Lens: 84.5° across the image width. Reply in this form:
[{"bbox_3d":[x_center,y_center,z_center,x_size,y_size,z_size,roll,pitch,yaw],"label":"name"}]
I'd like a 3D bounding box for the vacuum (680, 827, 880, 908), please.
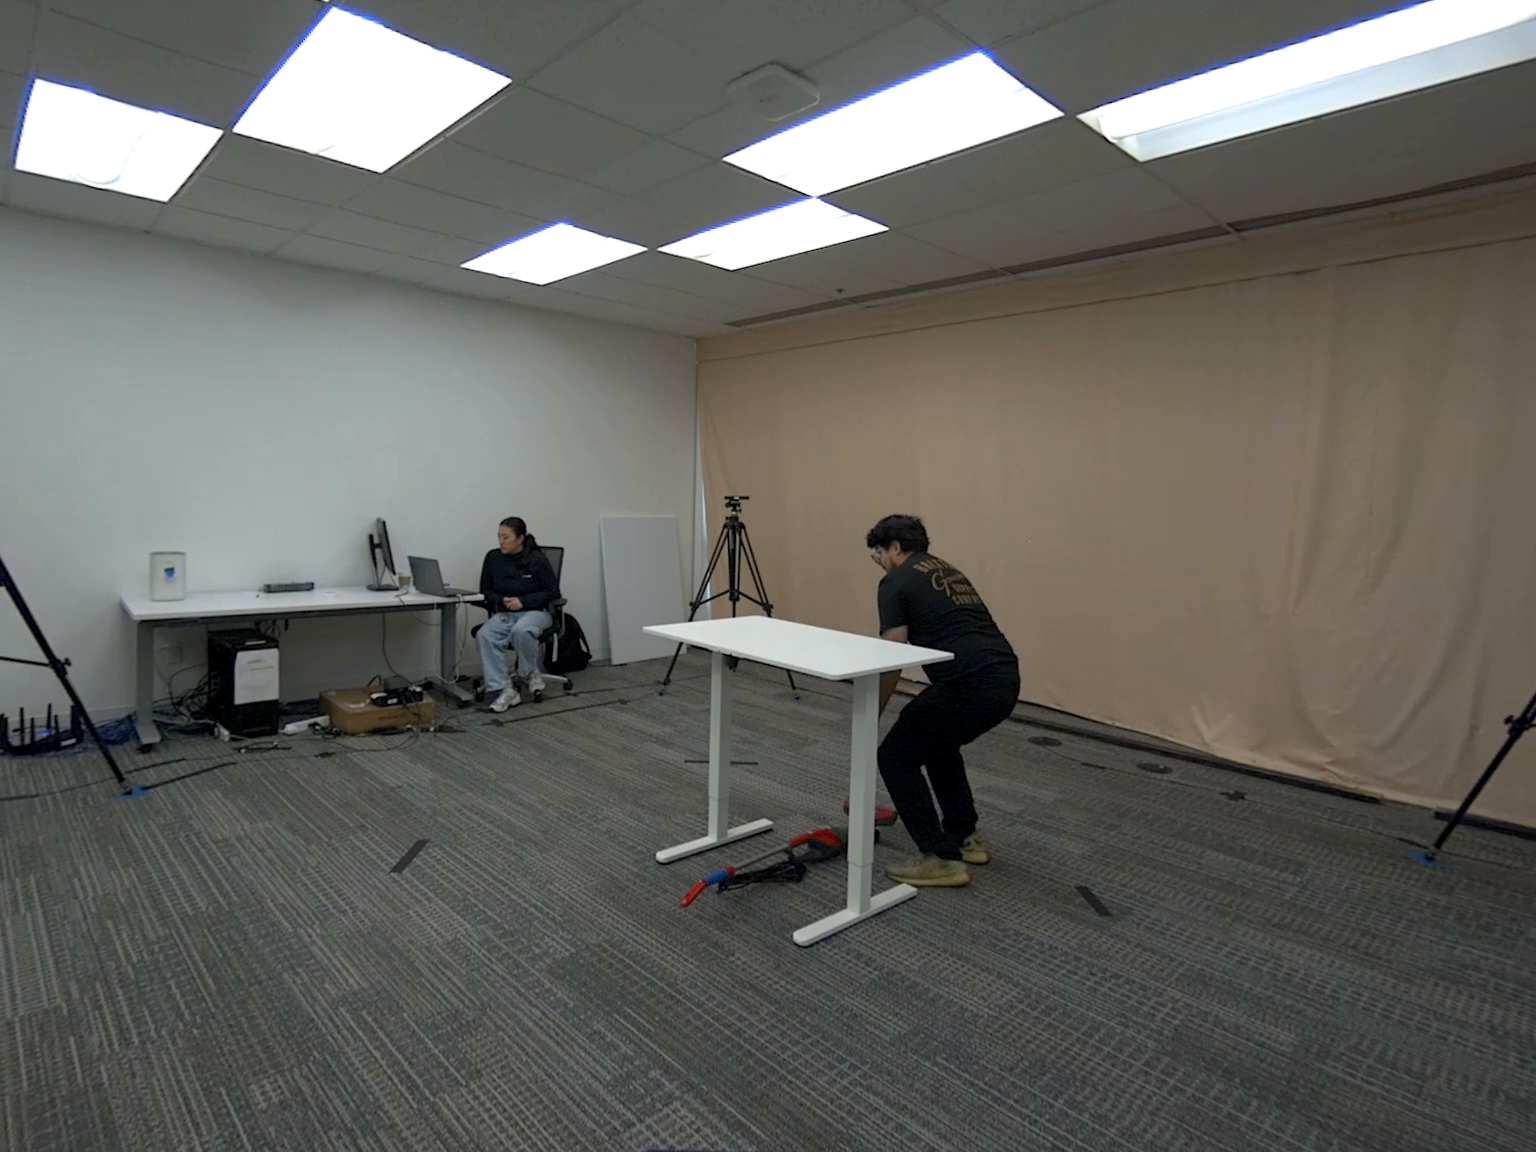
[{"bbox_3d":[0.060,1.049,3.109,0.258,0.144,1.026,-1,3,42],"label":"vacuum"}]
